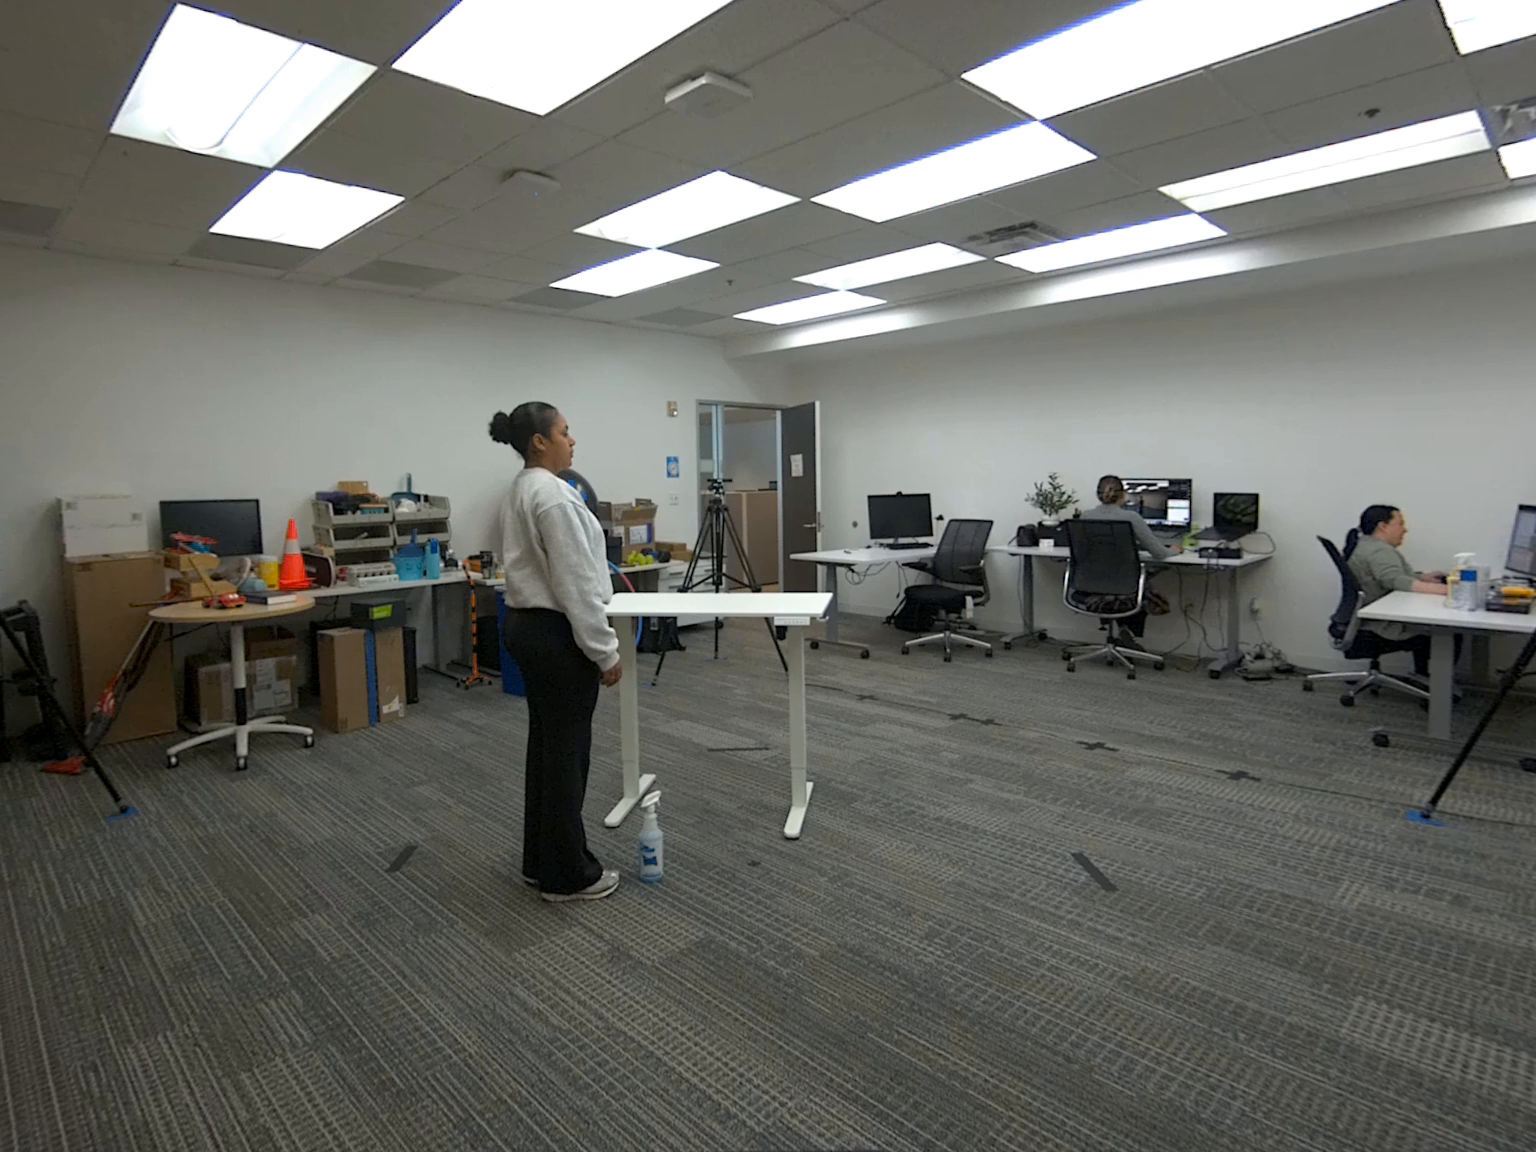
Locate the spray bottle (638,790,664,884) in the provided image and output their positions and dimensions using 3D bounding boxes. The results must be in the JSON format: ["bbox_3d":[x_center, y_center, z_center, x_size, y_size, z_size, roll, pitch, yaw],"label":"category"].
[{"bbox_3d":[-0.407,0.909,2.999,0.088,0.296,0.089,1,3,-26],"label":"spray bottle"}]
